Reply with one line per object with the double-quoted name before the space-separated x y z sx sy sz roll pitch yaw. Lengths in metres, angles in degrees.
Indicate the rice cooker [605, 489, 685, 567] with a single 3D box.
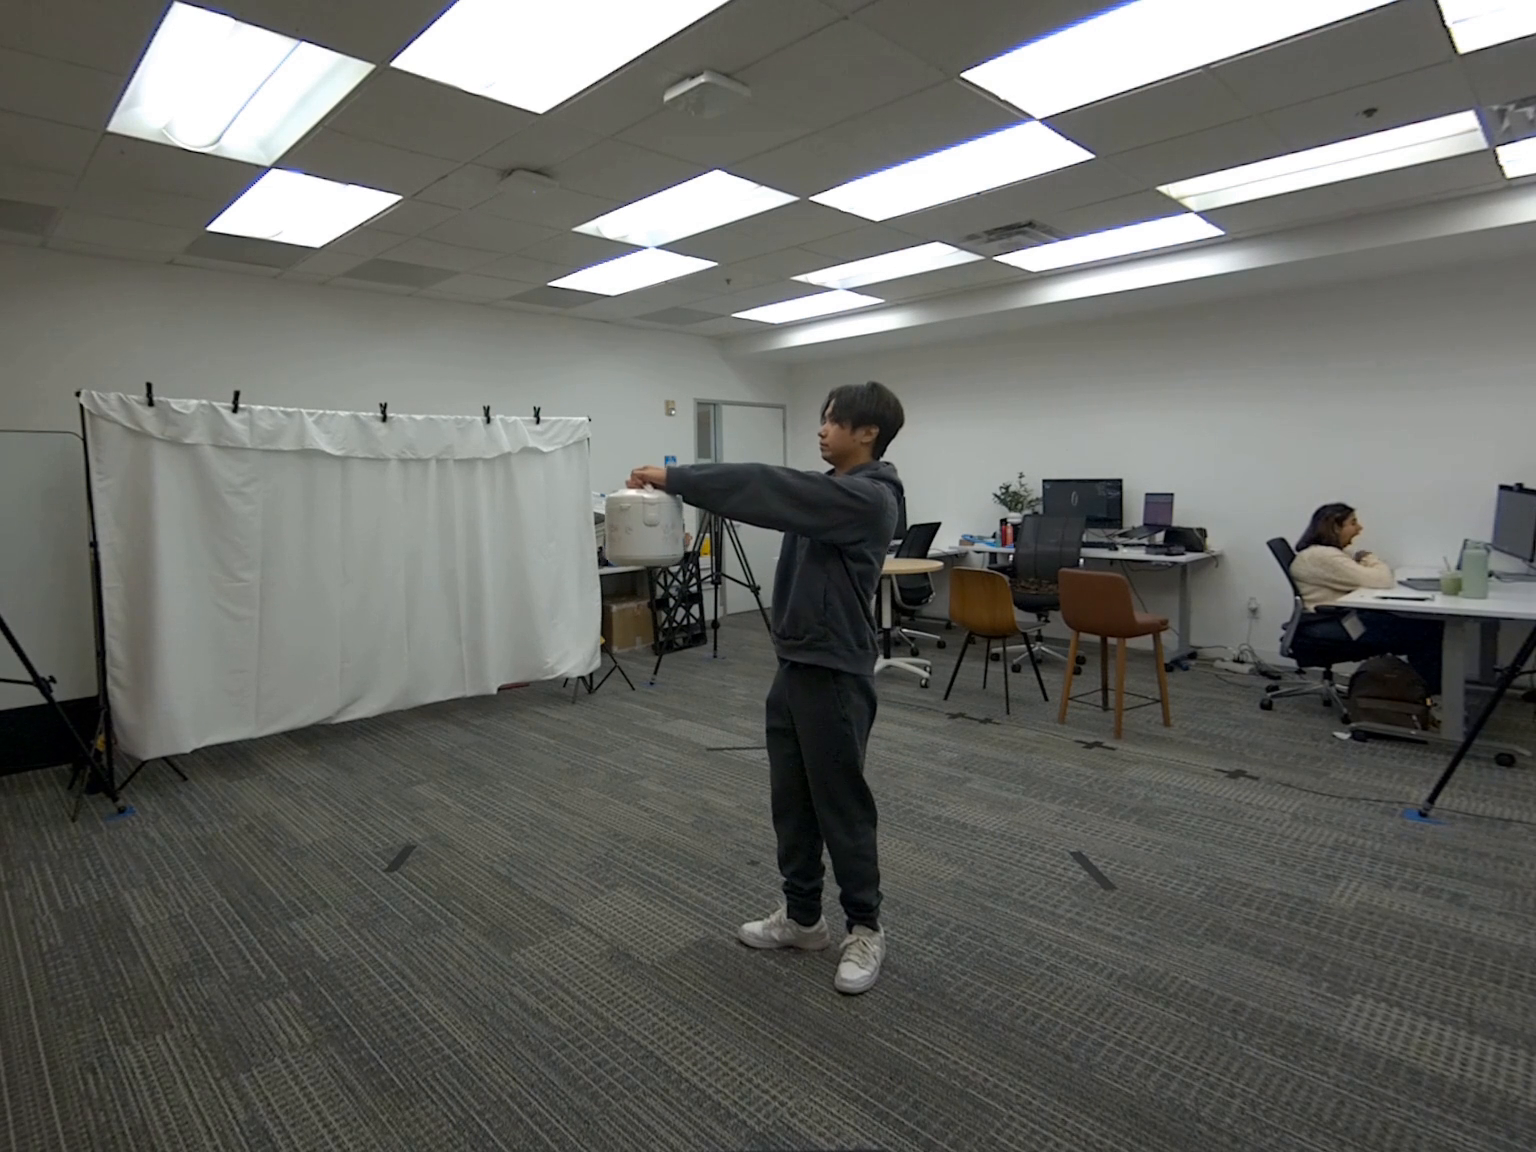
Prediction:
"rice cooker" -0.332 -0.146 2.331 0.214 0.232 0.225 -2 4 -17
